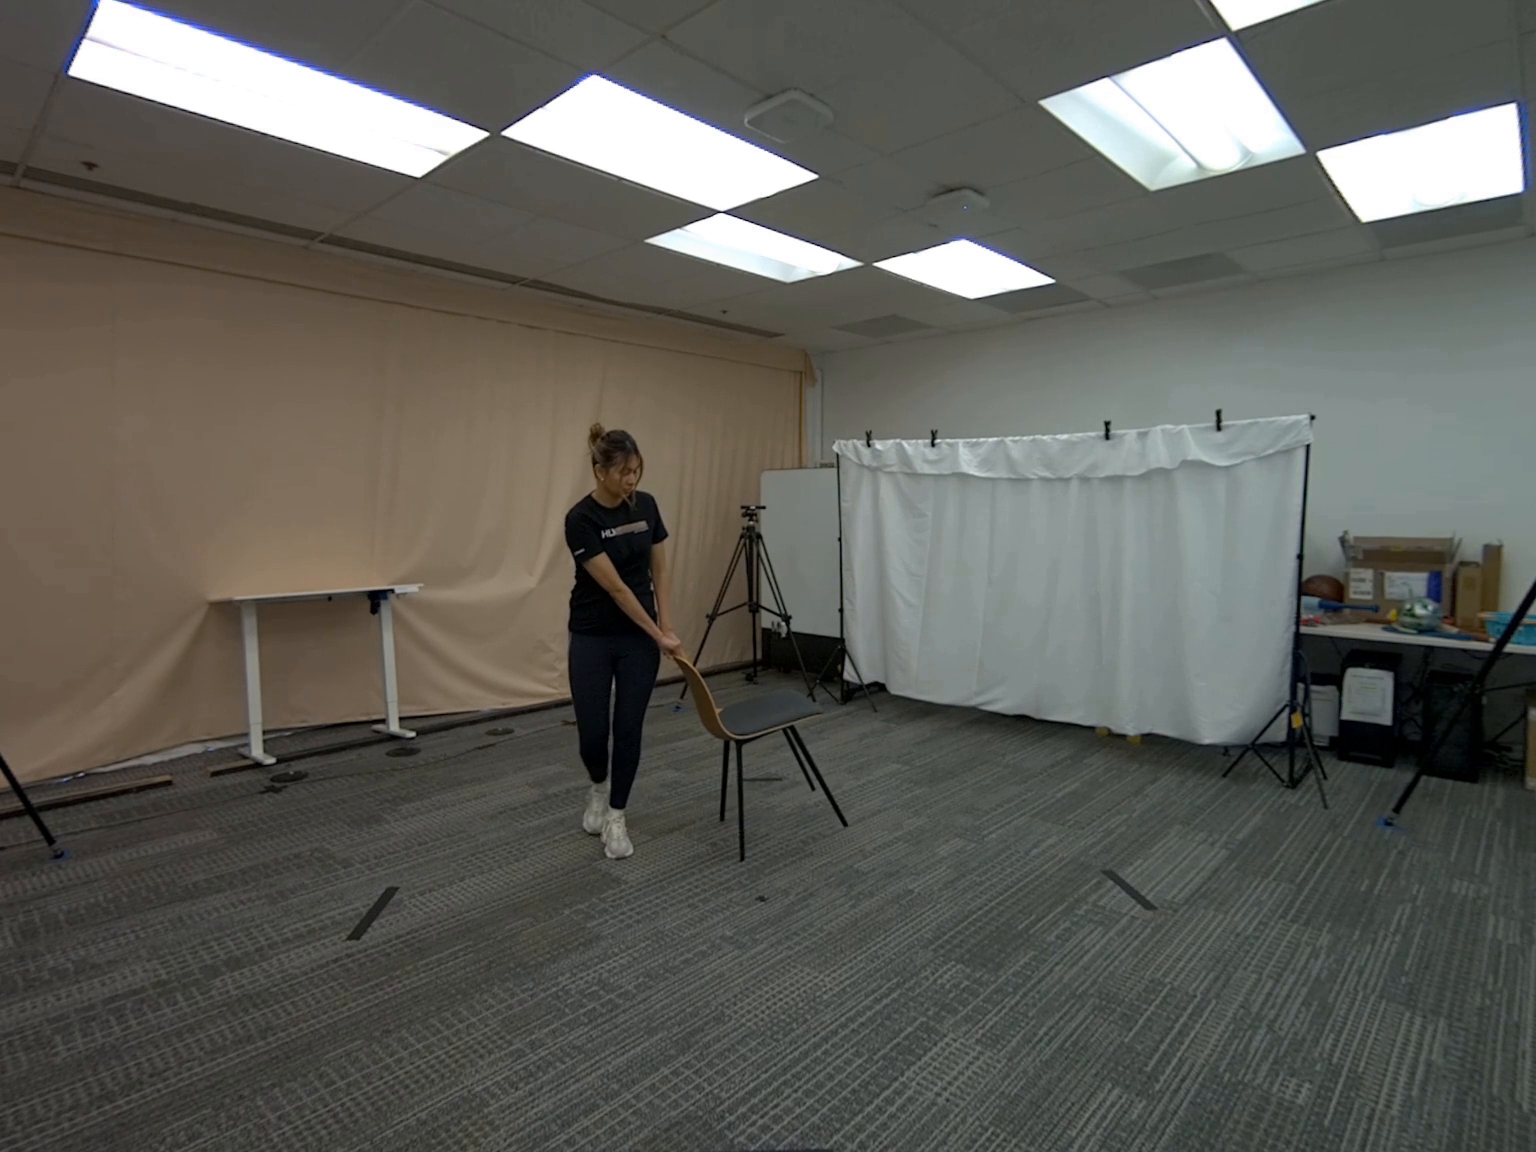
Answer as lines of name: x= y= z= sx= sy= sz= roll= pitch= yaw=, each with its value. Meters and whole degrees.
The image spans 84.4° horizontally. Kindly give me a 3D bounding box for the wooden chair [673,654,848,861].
wooden chair: x=-0.039 y=0.630 z=3.496 sx=0.519 sy=0.872 sz=0.485 roll=-20 pitch=6 yaw=-11
